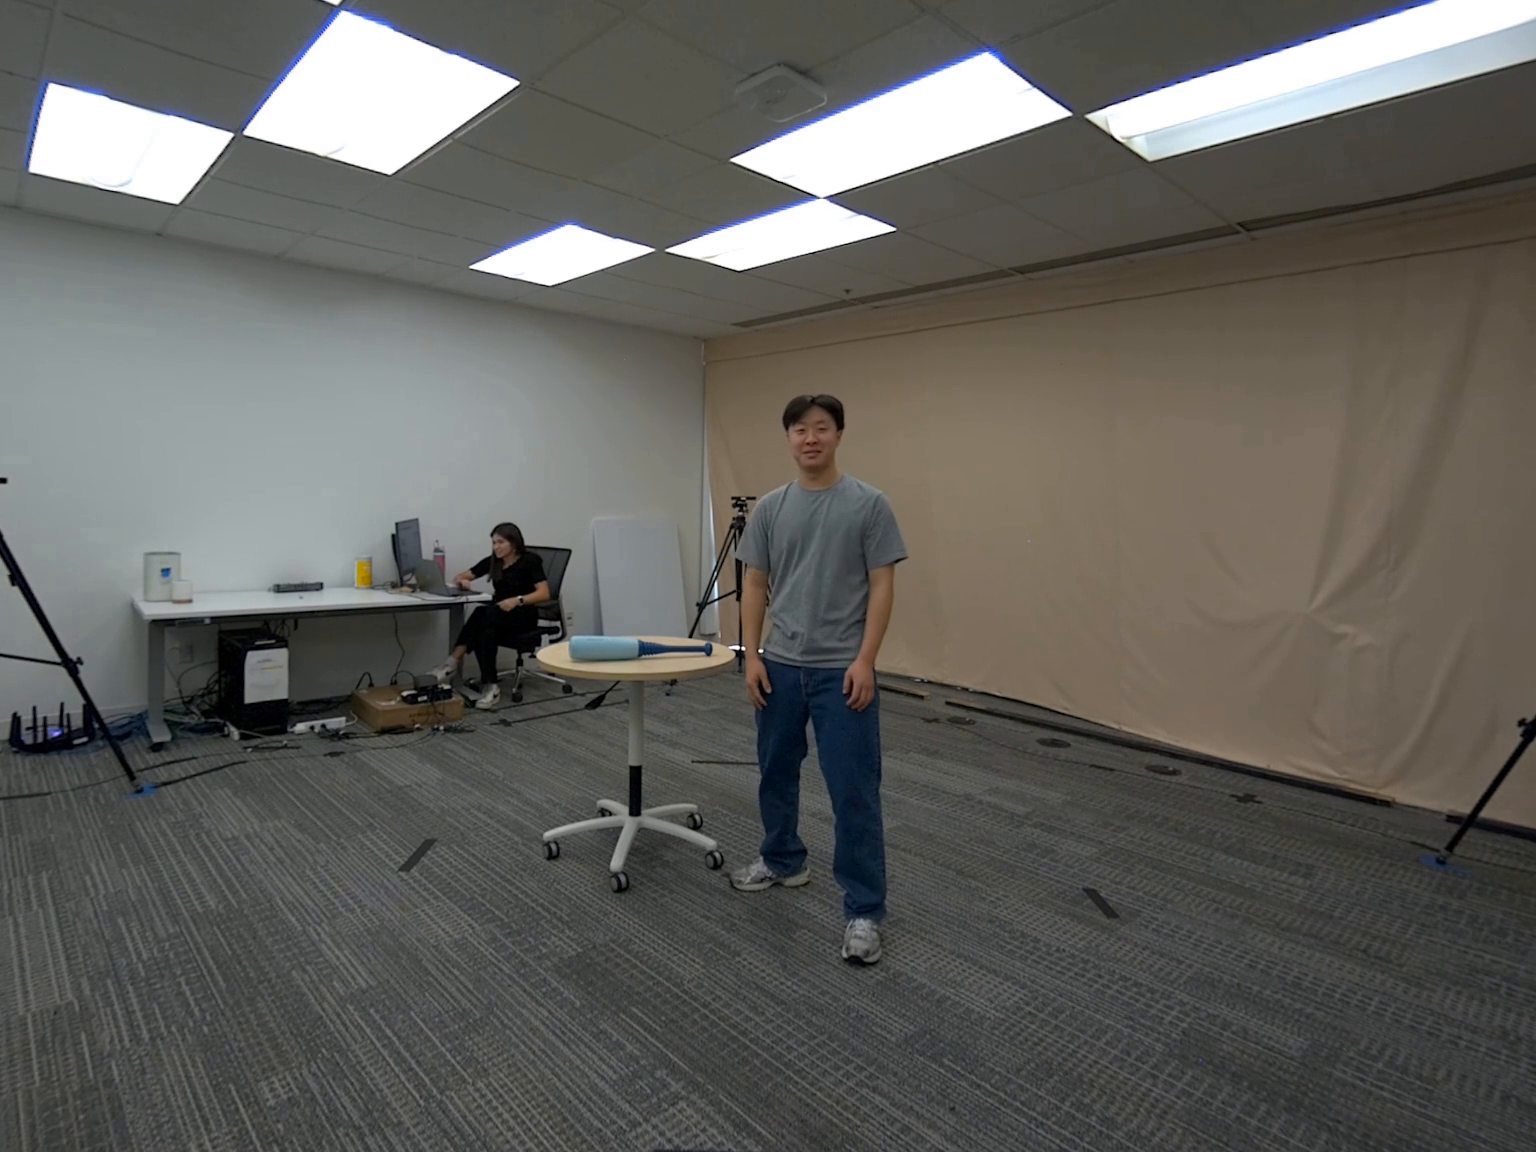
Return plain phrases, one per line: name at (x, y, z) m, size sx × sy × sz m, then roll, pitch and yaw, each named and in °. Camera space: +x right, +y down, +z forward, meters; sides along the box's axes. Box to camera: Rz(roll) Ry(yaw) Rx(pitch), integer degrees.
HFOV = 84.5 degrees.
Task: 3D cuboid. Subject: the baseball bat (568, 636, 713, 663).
baseball bat at (-0.475, 0.274, 3.150) m, size 0.535 × 0.089 × 0.090 m, roll 2°, pitch 4°, yaw -18°
